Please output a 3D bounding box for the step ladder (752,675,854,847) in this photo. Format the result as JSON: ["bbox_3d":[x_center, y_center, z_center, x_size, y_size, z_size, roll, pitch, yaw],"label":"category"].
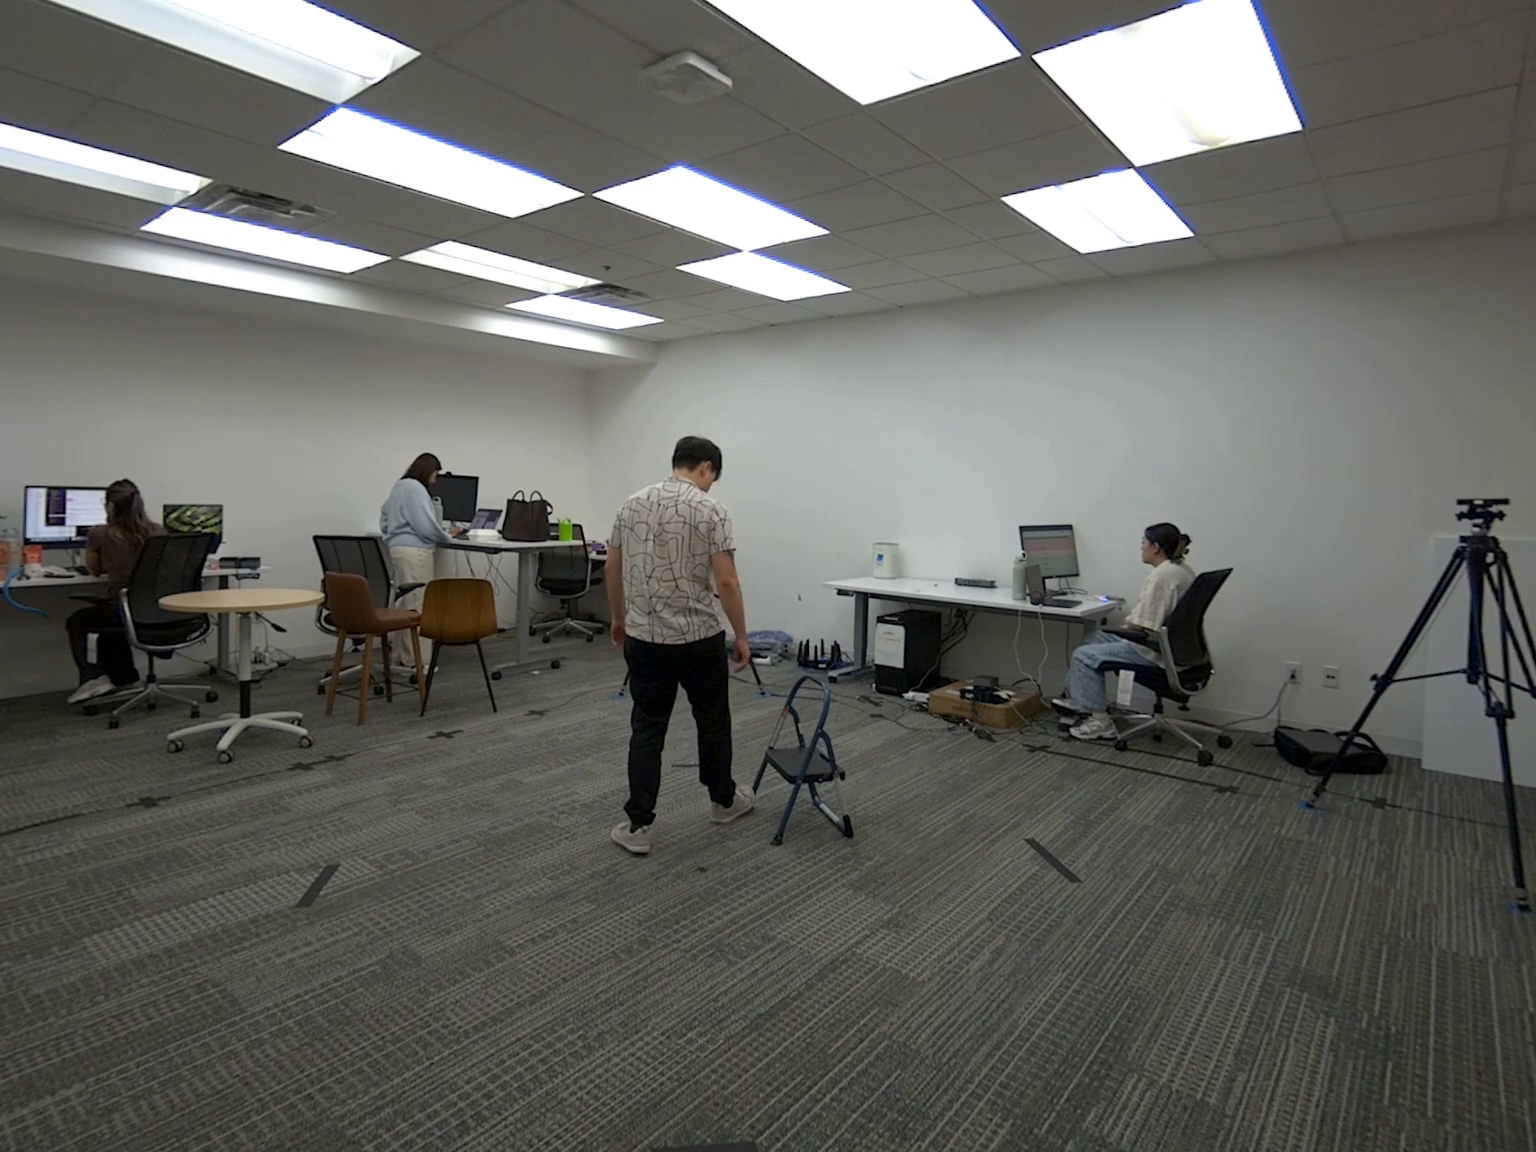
[{"bbox_3d":[0.127,0.731,3.567,0.343,0.604,0.439,1,4,-17],"label":"step ladder"}]
